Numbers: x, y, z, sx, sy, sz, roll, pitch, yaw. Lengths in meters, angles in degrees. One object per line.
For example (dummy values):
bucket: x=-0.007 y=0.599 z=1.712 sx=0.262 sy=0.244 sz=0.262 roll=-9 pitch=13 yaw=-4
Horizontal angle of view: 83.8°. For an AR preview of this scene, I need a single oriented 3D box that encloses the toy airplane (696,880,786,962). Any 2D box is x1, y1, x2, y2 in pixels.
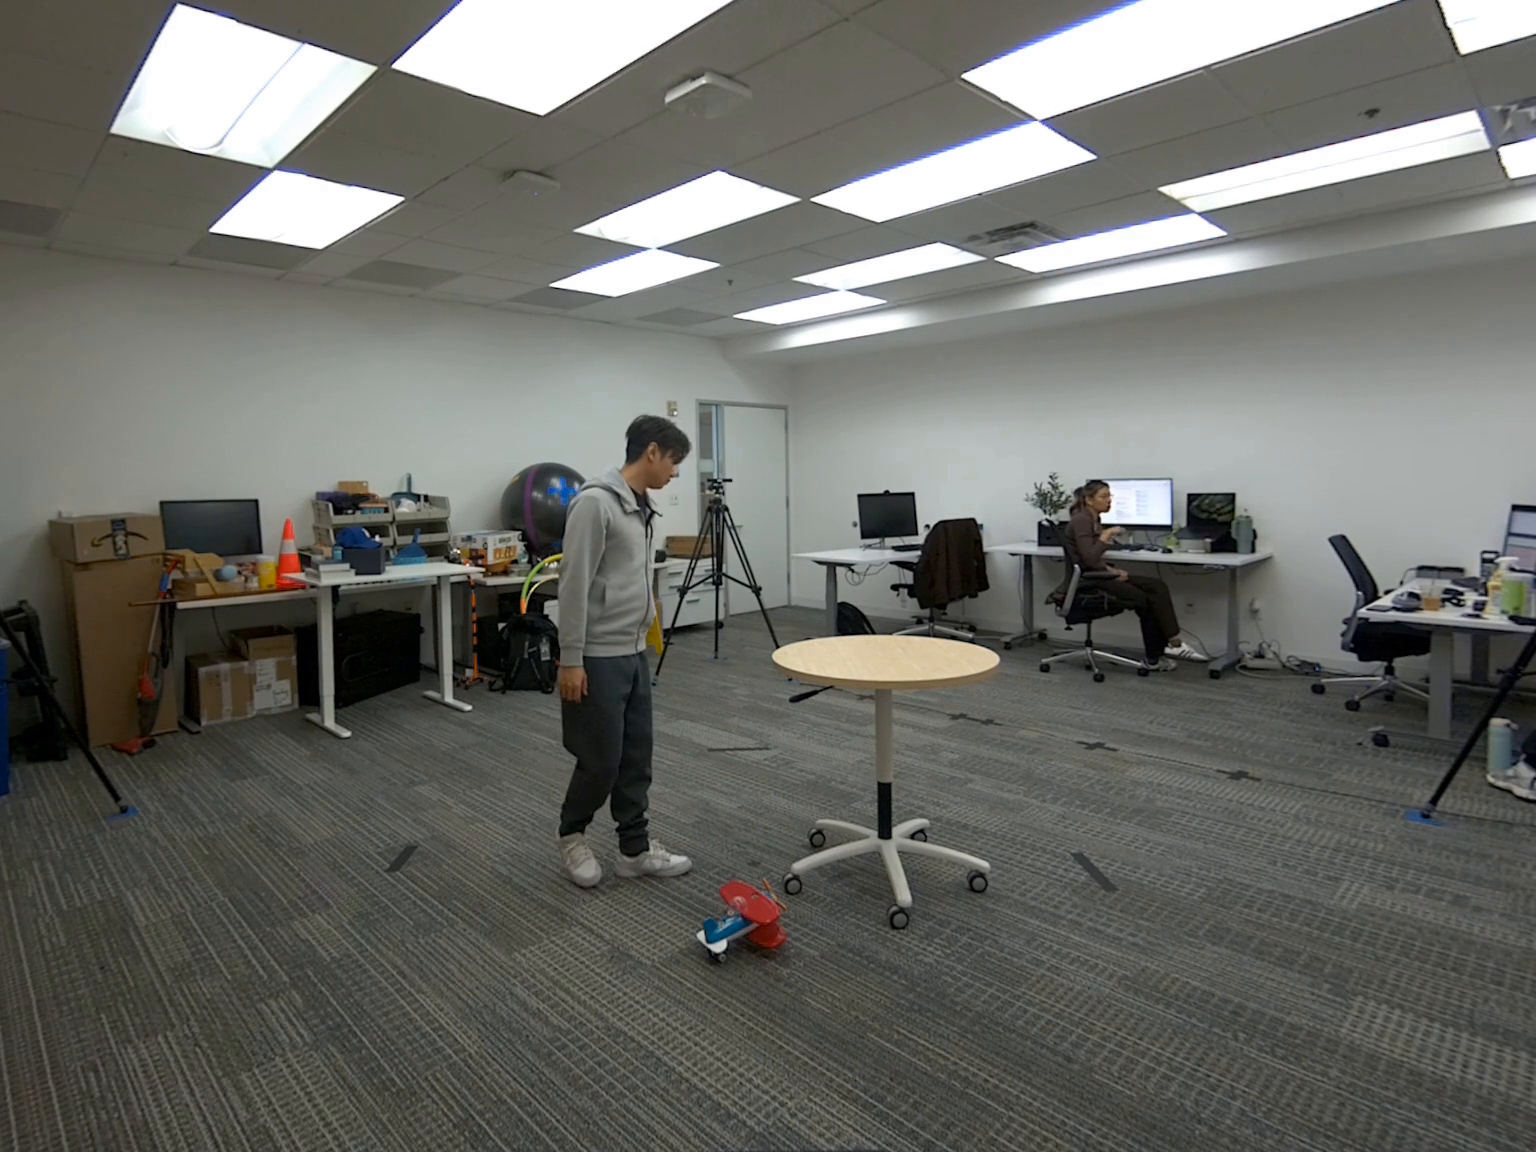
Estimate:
toy airplane: x=-0.062 y=1.039 z=2.529 sx=0.257 sy=0.156 sz=0.254 roll=3 pitch=5 yaw=28
